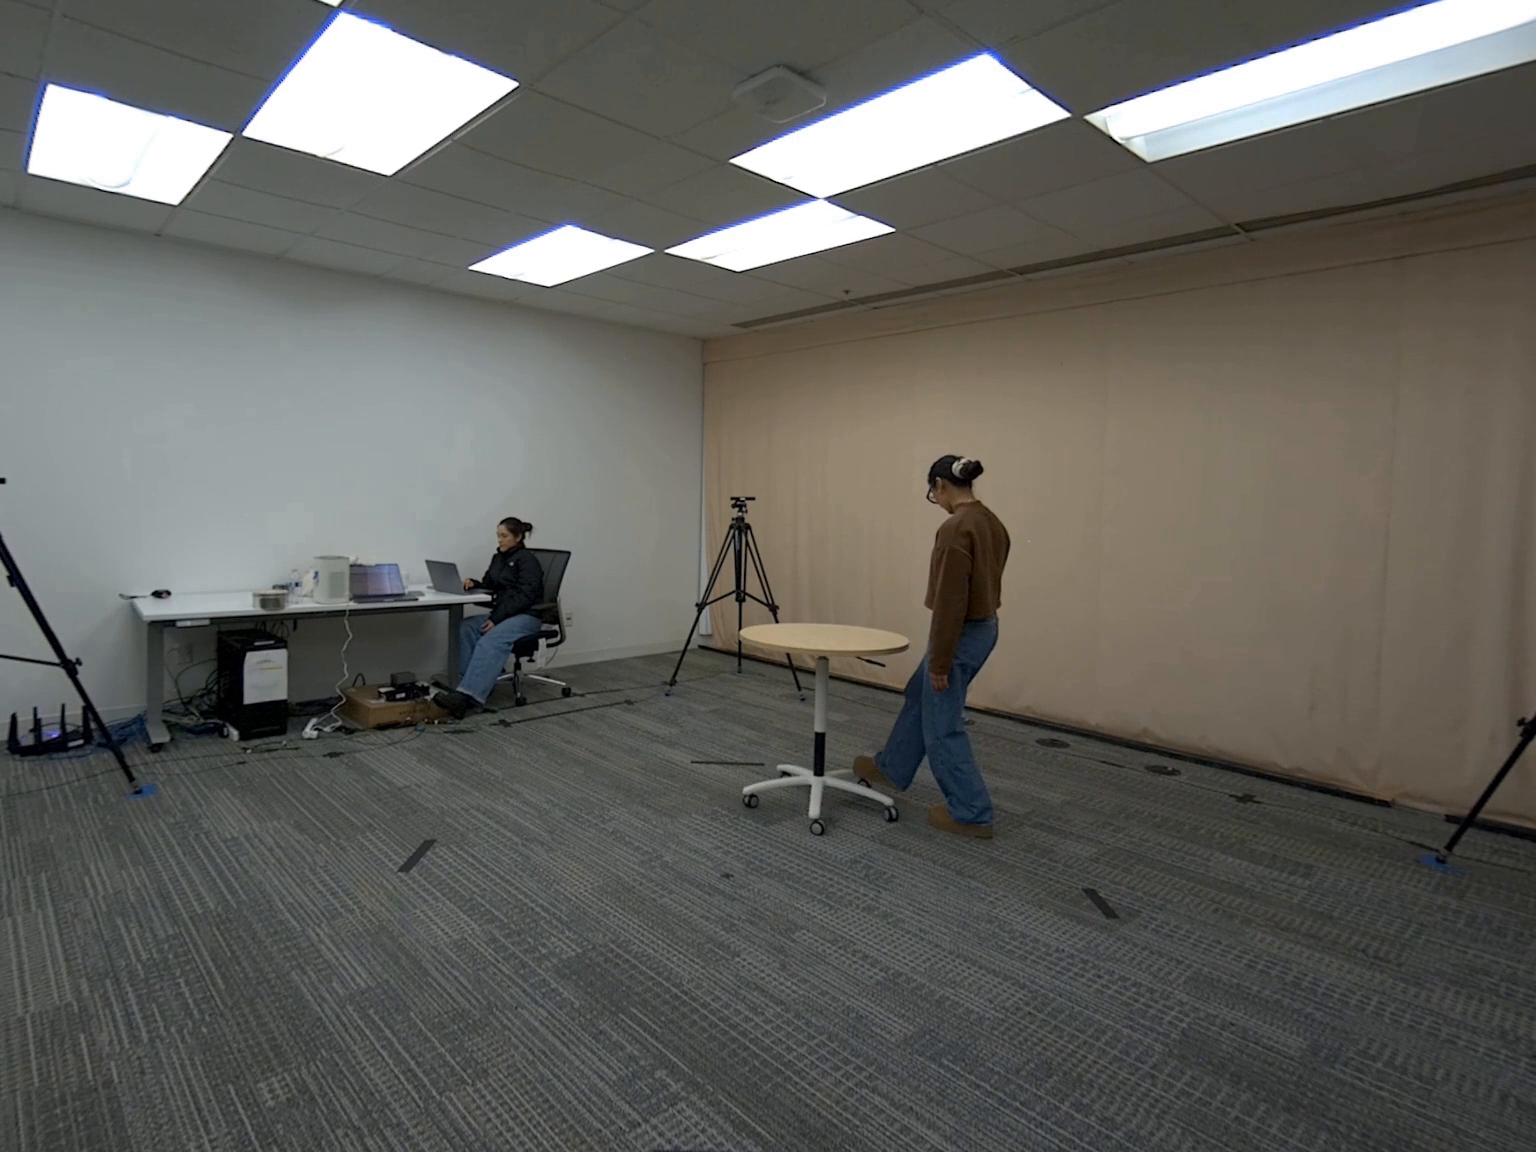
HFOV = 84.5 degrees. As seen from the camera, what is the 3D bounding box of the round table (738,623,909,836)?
[{"bbox_3d":[0.236,0.662,3.840,0.763,0.792,0.766,2,3,-1],"label":"round table"}]
